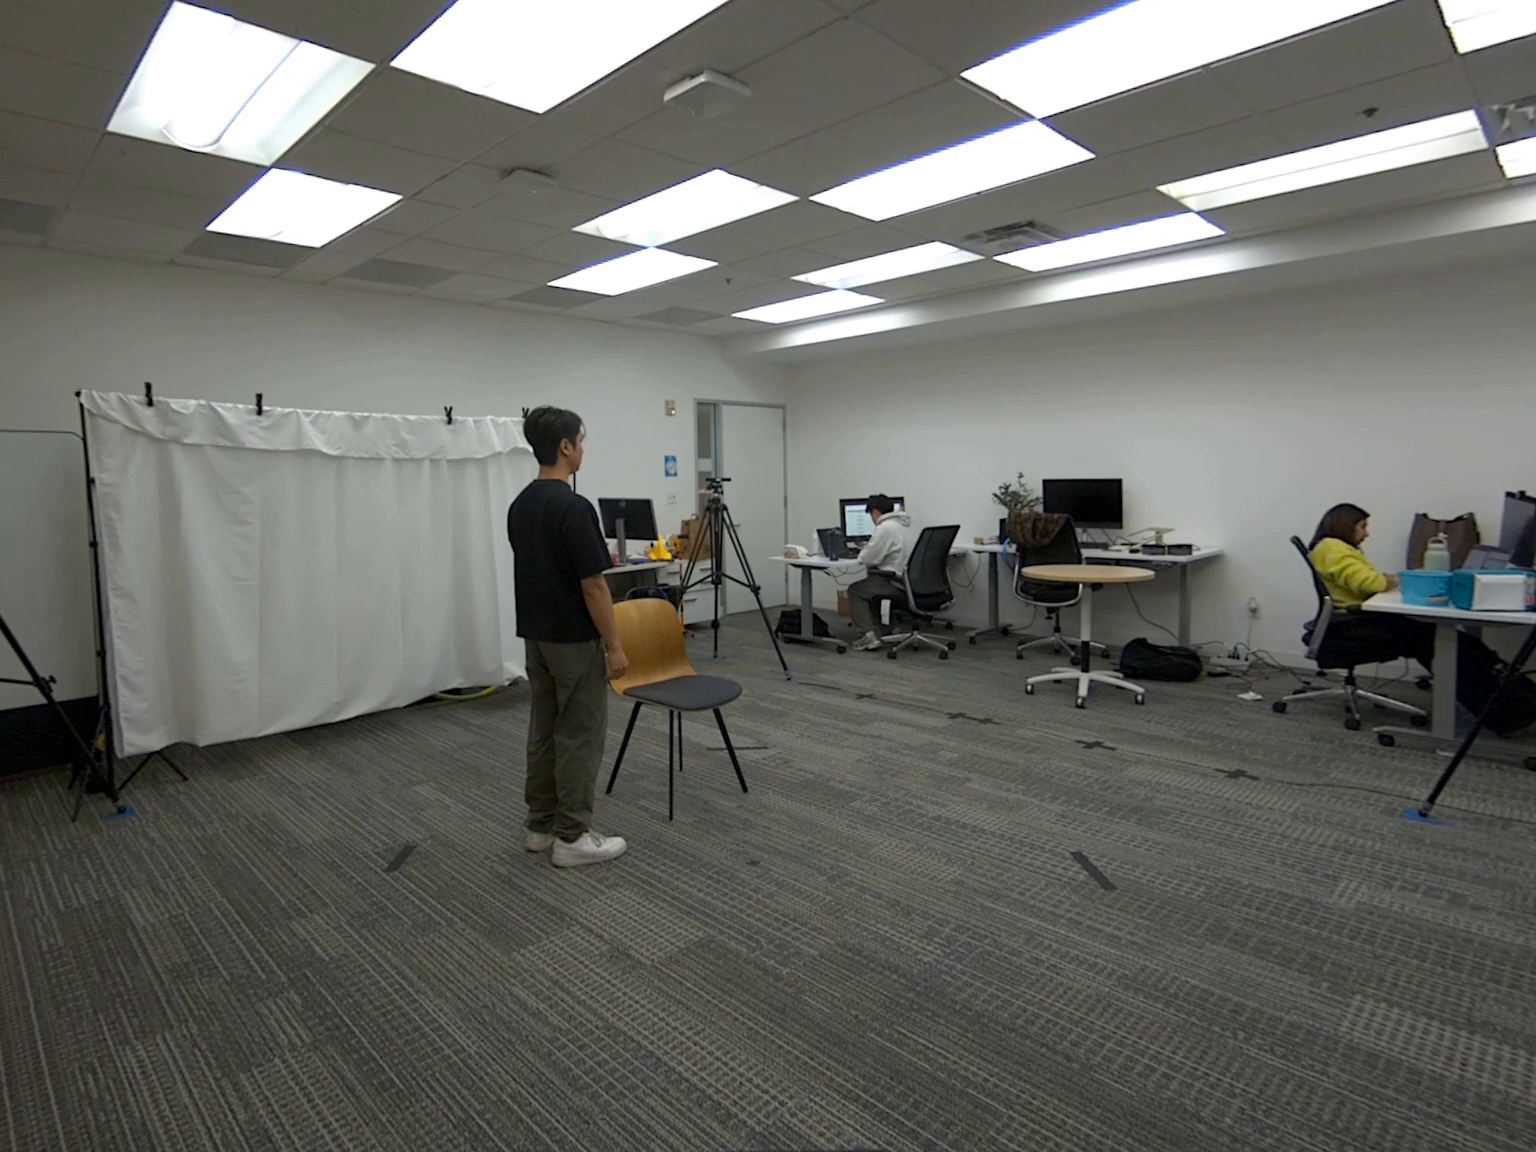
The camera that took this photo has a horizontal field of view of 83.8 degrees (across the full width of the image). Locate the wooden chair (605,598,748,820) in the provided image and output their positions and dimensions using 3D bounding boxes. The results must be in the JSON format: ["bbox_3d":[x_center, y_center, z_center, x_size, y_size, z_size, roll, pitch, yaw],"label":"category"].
[{"bbox_3d":[-0.408,0.545,3.779,0.465,0.877,0.537,-4,1,-45],"label":"wooden chair"}]
